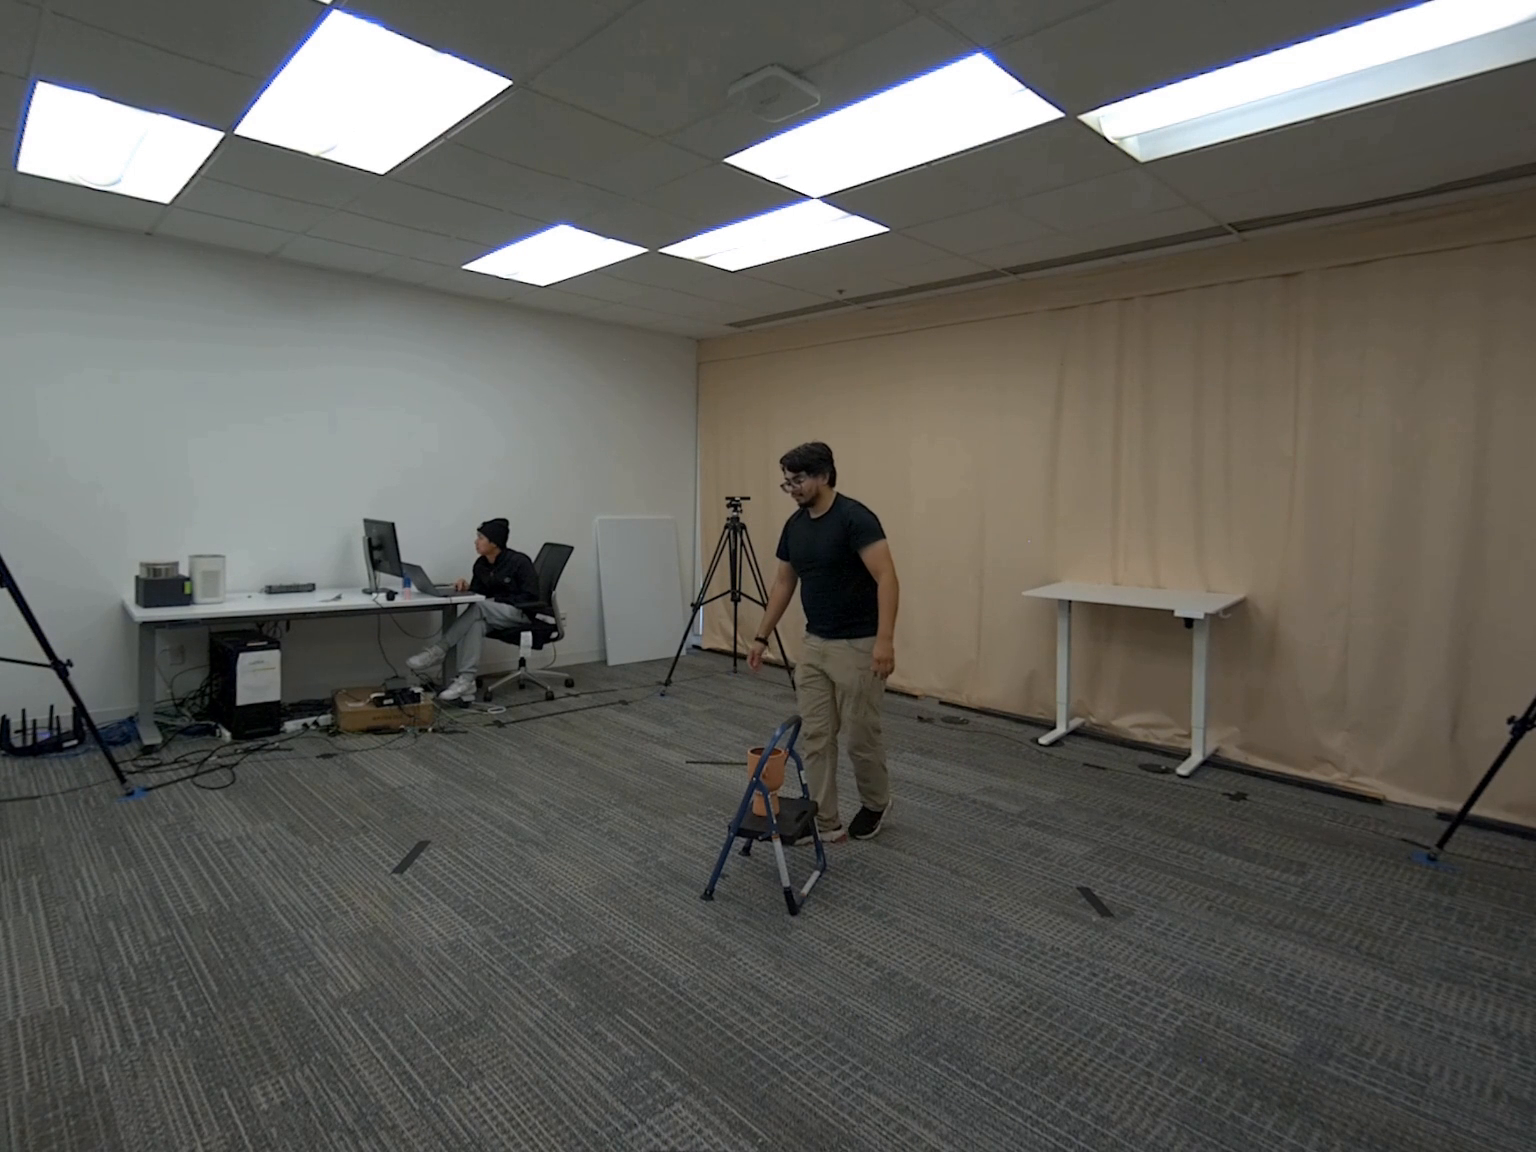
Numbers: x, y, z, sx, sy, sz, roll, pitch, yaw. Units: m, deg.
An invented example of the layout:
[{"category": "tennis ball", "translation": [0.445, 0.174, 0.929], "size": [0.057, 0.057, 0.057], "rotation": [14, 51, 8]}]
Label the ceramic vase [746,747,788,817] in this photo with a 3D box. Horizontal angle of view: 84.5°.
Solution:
[{"category": "ceramic vase", "translation": [-0.016, 0.745, 3.039], "size": [0.138, 0.219, 0.155], "rotation": [2, 3, 44]}]
